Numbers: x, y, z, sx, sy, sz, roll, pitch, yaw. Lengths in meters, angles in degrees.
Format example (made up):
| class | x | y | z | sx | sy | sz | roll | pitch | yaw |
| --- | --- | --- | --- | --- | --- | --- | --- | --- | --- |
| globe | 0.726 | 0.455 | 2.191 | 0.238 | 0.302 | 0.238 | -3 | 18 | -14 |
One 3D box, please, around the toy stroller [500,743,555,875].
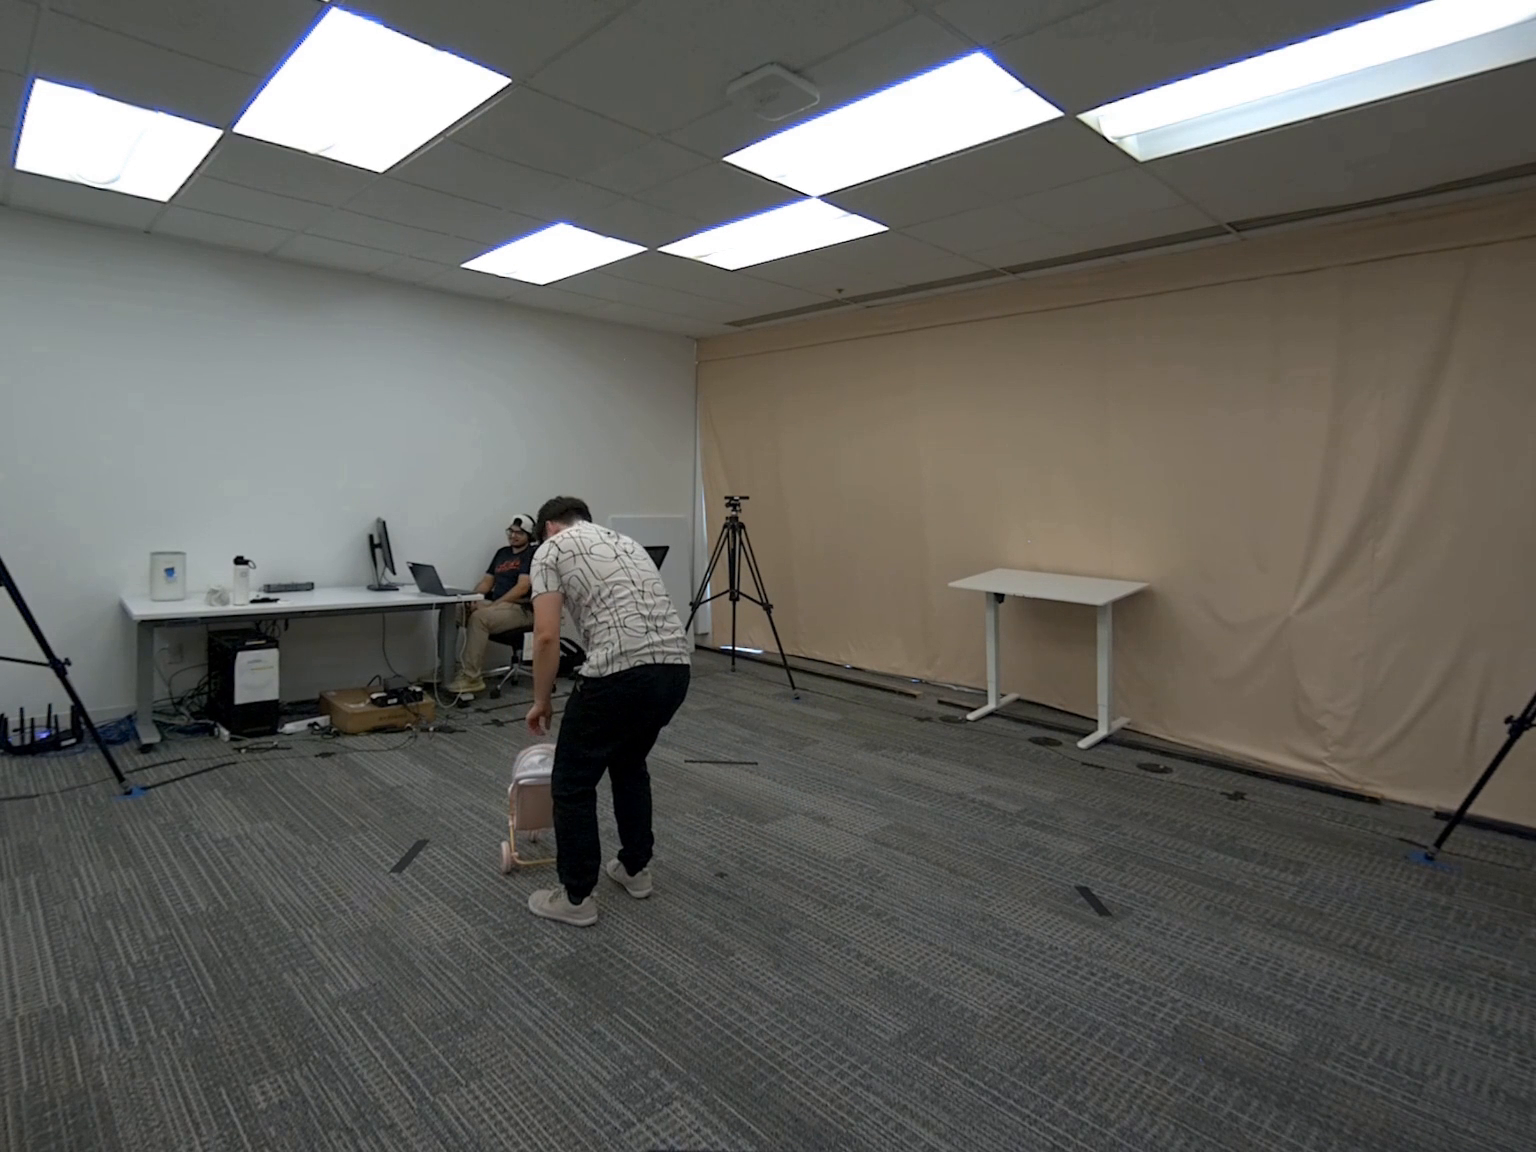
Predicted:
| class | x | y | z | sx | sy | sz | roll | pitch | yaw |
| --- | --- | --- | --- | --- | --- | --- | --- | --- | --- |
| toy stroller | -0.863 | 0.857 | 3.172 | 0.278 | 0.528 | 0.350 | 1 | 22 | -17 |
